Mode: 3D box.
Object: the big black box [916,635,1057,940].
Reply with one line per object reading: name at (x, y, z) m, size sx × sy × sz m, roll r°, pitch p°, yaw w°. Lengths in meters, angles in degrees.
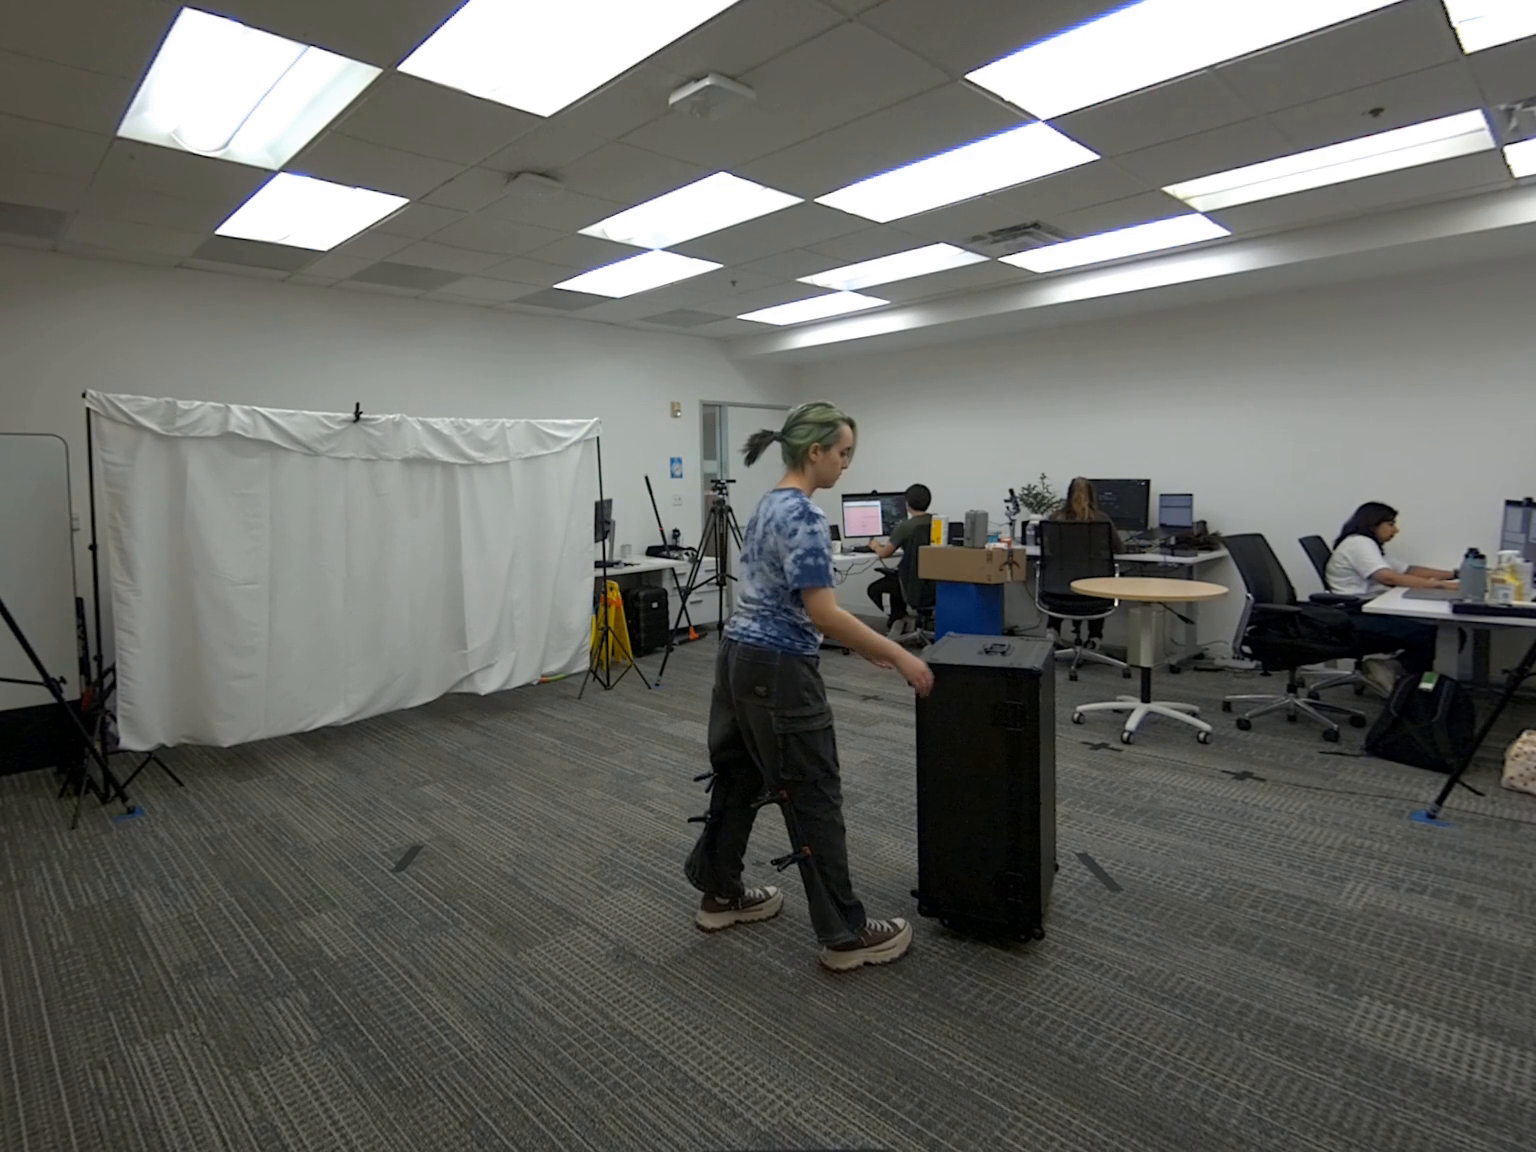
big black box at (0.697, 0.656, 2.705) m, size 0.405 × 0.858 × 0.511 m, roll 0°, pitch 5°, yaw 25°
